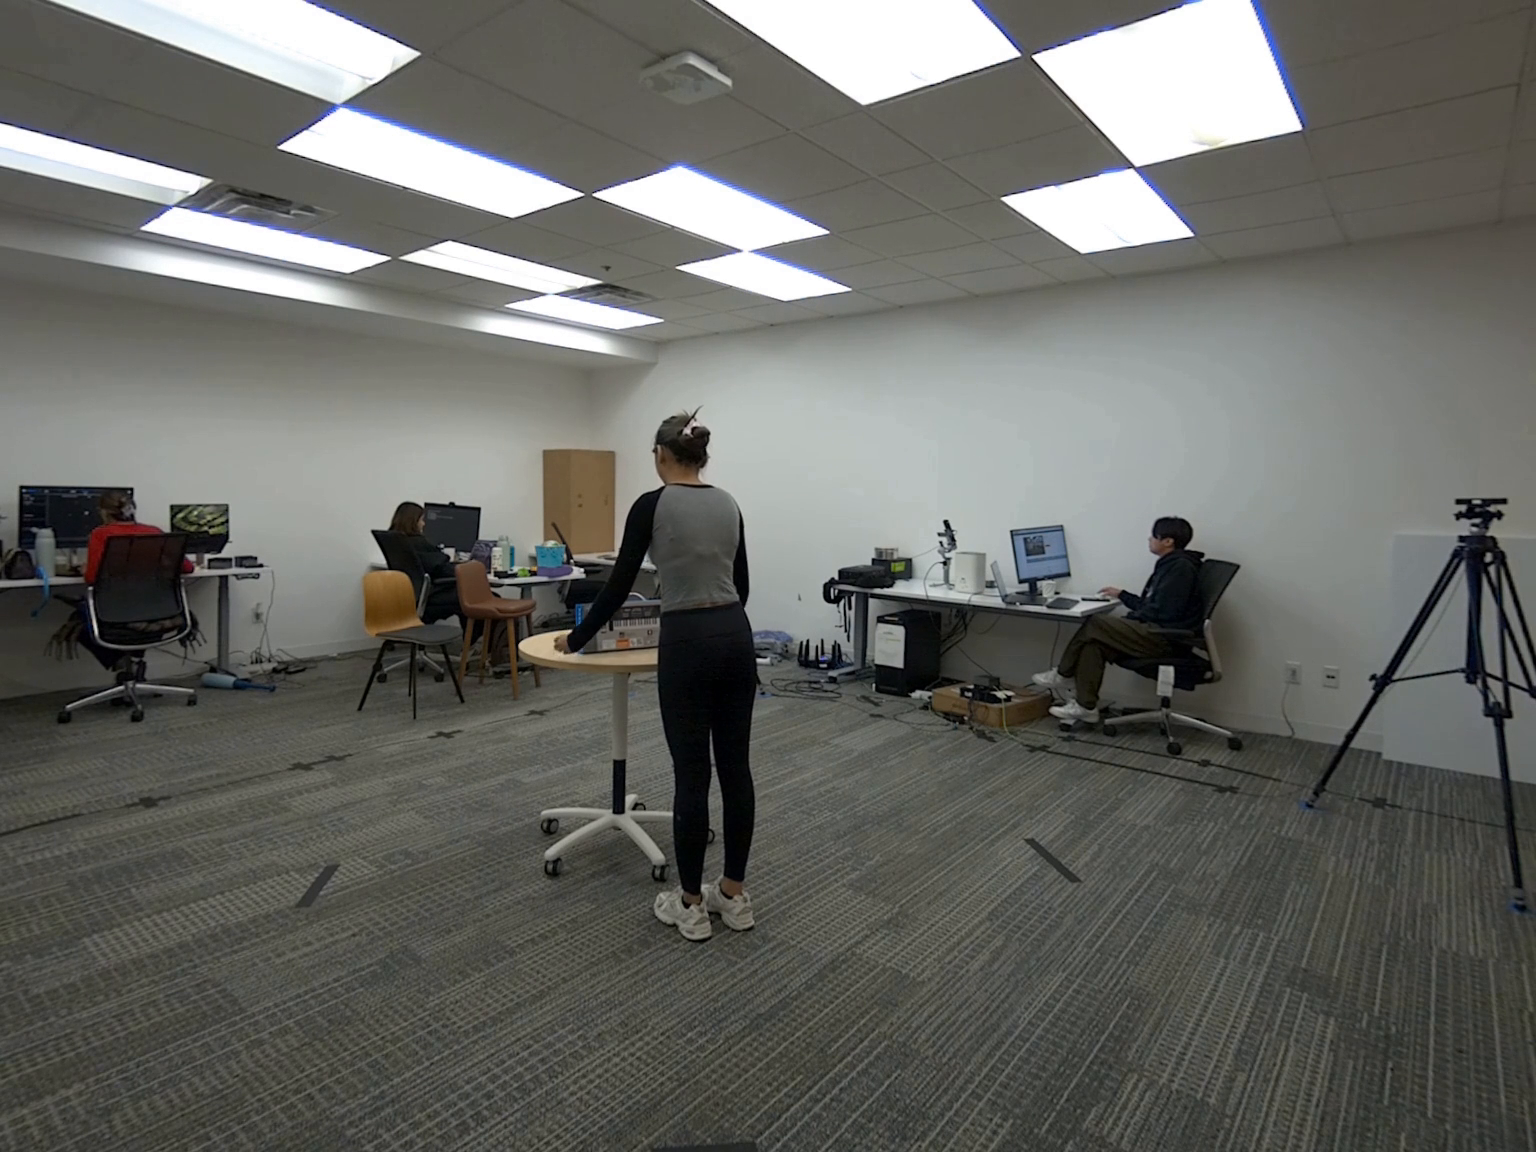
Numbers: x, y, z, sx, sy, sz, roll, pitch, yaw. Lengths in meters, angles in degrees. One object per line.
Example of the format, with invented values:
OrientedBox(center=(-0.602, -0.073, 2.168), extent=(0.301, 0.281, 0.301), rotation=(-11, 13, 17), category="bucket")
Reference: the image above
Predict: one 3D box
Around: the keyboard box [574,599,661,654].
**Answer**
OrientedBox(center=(-0.508, 0.180, 3.156), extent=(0.425, 0.176, 0.060), rotation=(-2, -2, -32), category="keyboard box")
